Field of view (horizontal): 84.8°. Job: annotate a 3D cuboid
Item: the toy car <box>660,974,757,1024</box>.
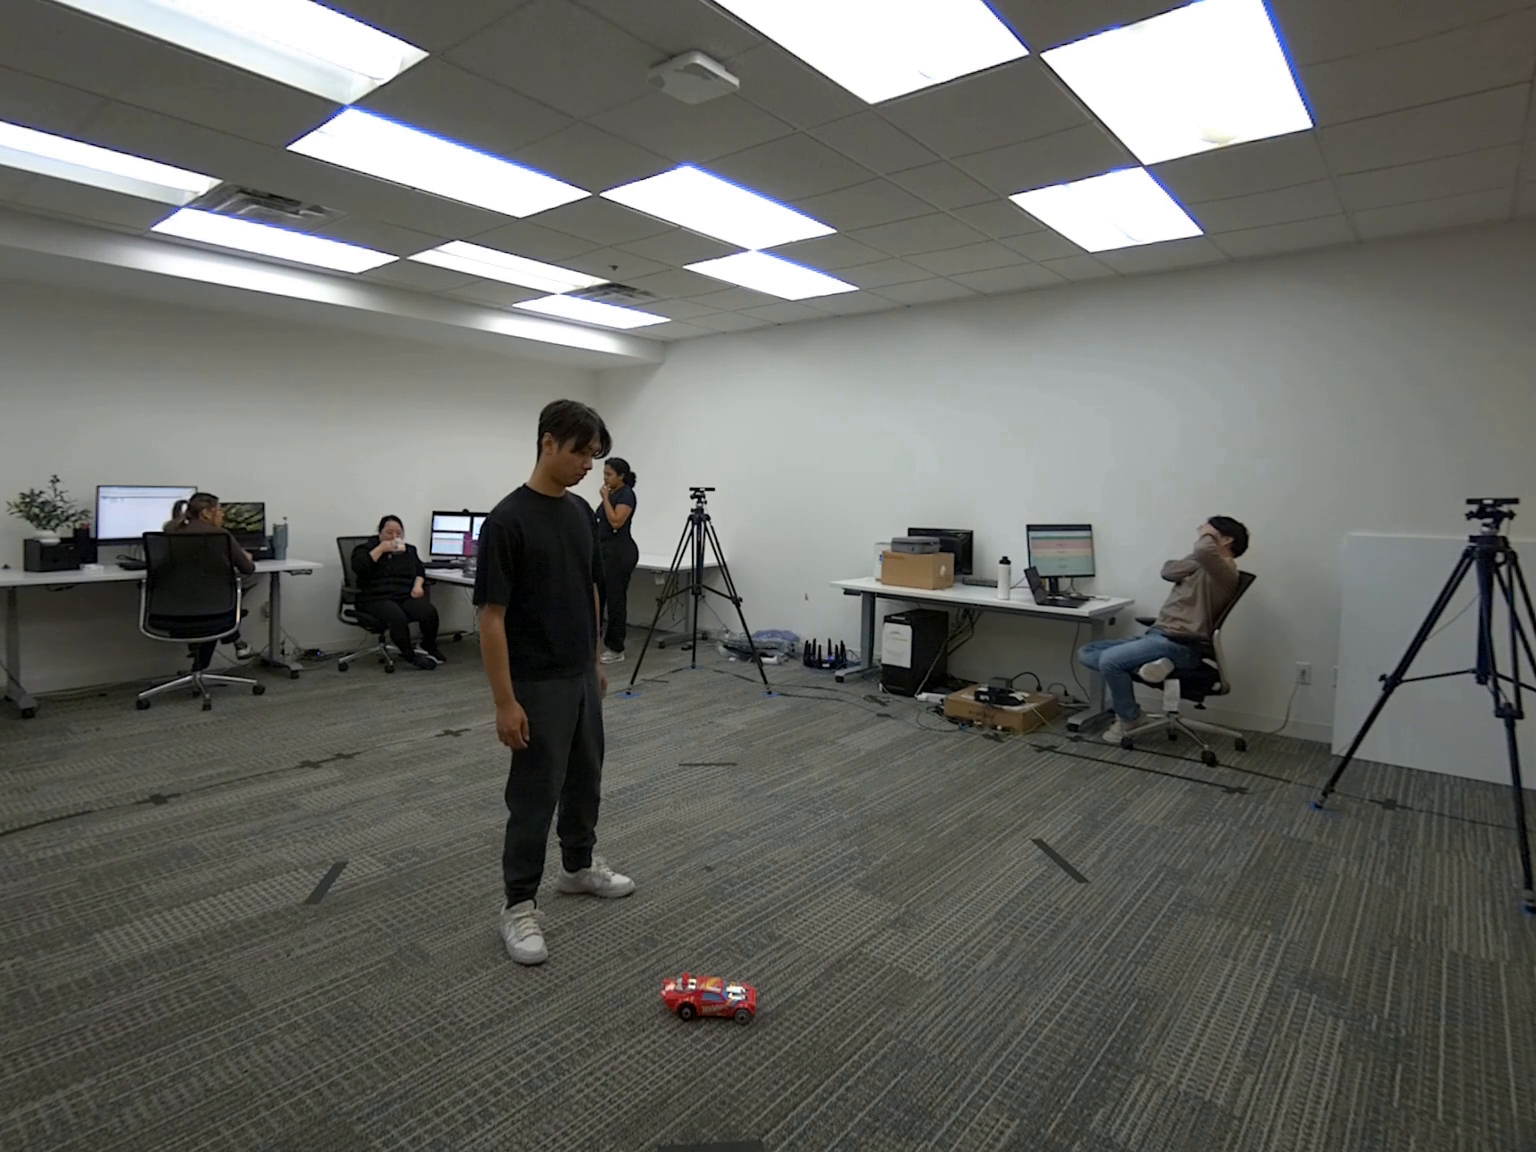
[{"bbox_3d":[-0.165,1.121,2.264,0.255,0.083,0.130,12,4,2],"label":"toy car"}]
